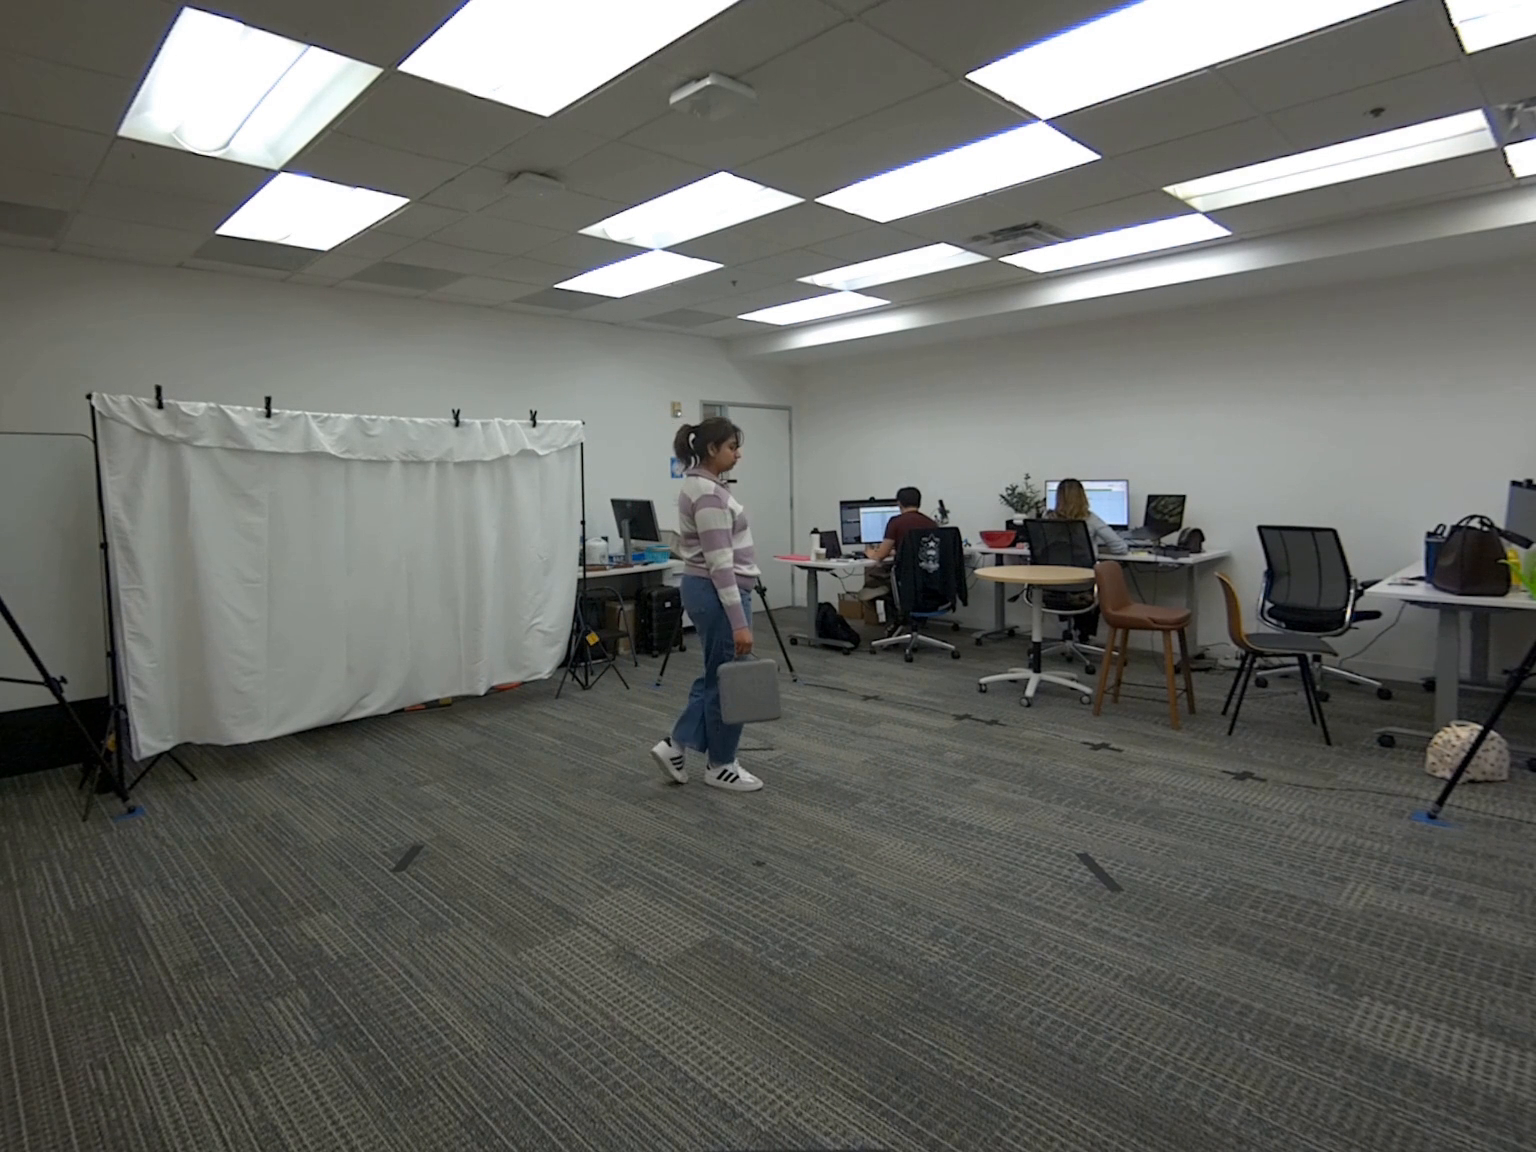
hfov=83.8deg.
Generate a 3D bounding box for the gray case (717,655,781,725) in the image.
[{"bbox_3d":[-0.082,0.478,3.568,0.256,0.262,0.104,-6,-3,-4],"label":"gray case"}]
